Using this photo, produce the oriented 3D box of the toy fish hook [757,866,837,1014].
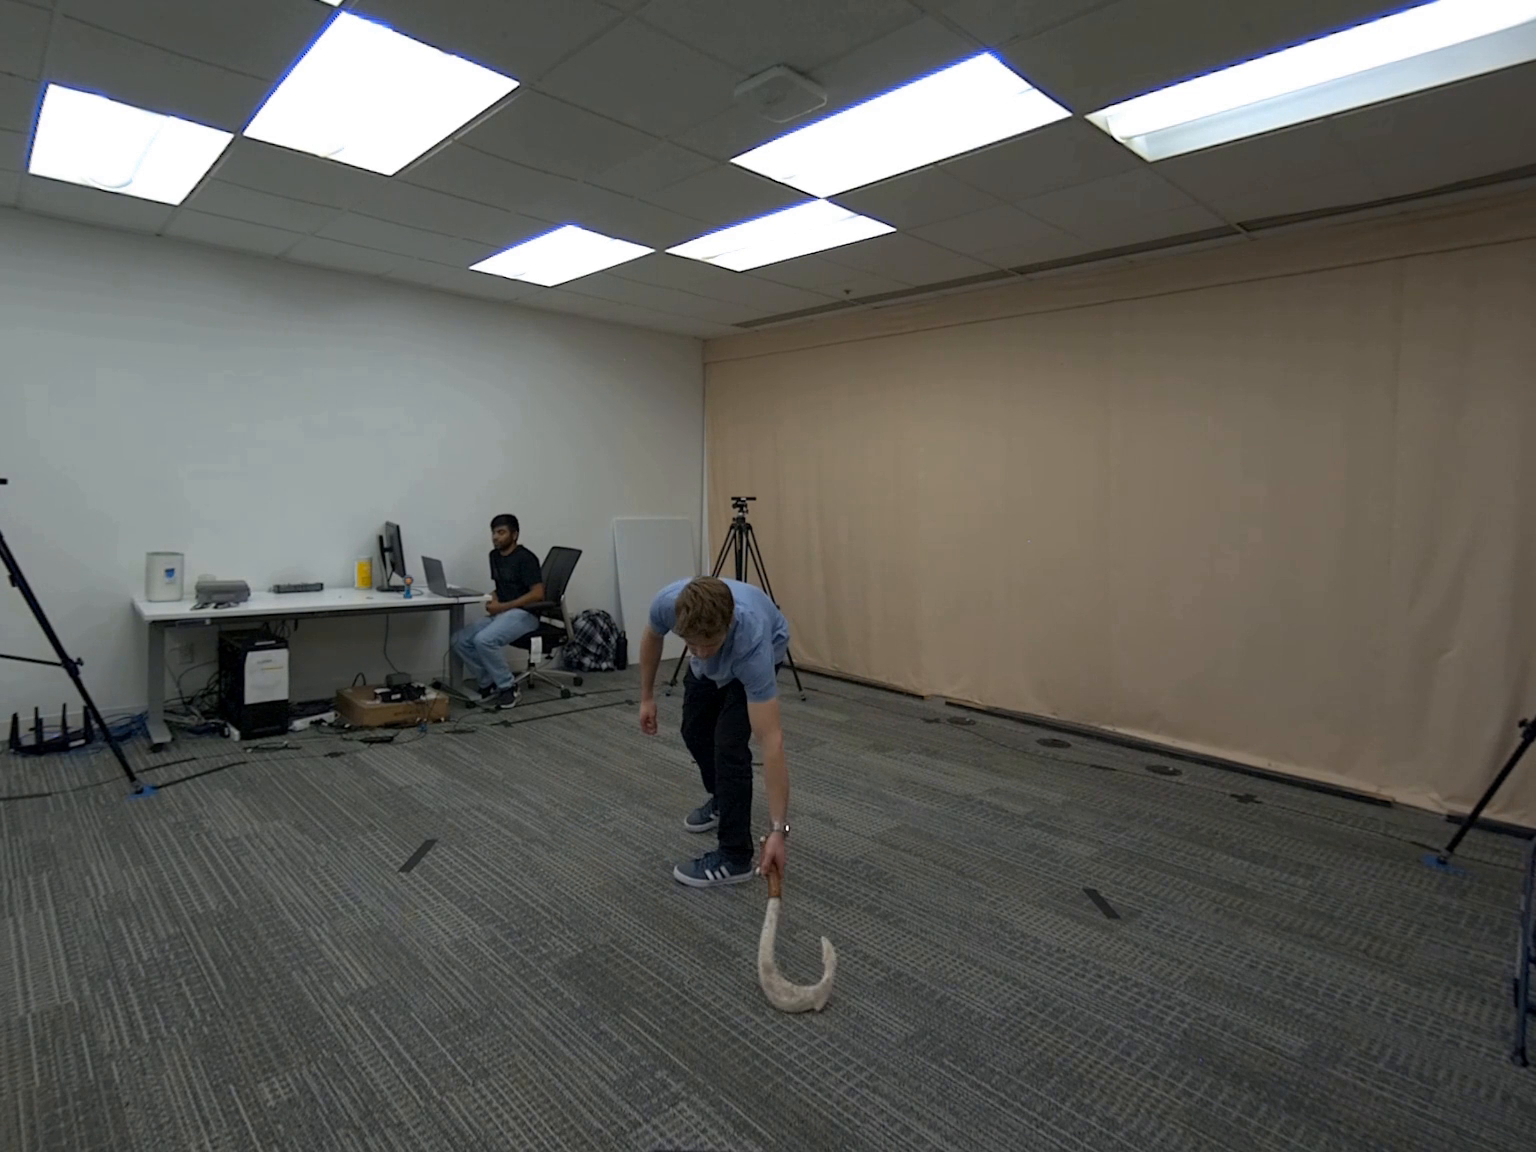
[{"bbox_3d":[0.057,1.008,2.469,0.223,0.047,0.519,1,46,-10],"label":"toy fish hook"}]
